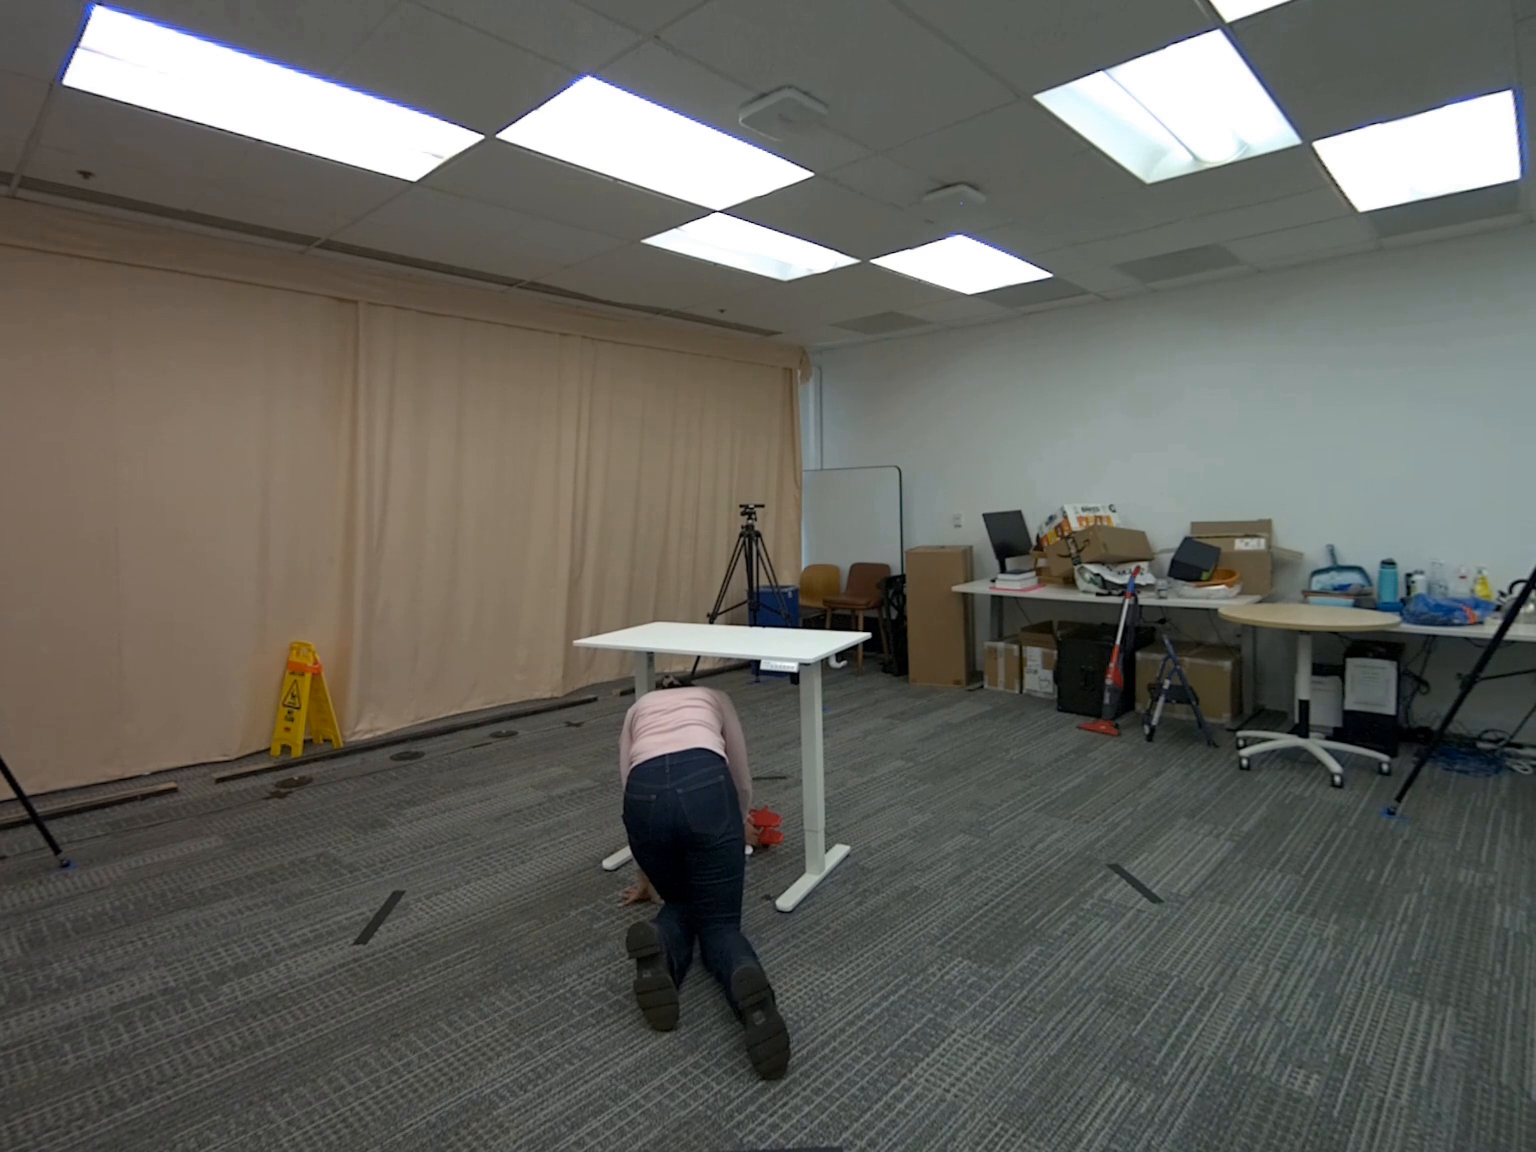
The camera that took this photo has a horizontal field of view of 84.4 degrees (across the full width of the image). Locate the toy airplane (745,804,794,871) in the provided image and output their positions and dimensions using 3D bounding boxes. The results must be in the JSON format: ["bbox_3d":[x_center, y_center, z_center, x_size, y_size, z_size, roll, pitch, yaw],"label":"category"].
[{"bbox_3d":[-0.048,1.032,3.355,0.250,0.156,0.261,-2,4,-5],"label":"toy airplane"}]
